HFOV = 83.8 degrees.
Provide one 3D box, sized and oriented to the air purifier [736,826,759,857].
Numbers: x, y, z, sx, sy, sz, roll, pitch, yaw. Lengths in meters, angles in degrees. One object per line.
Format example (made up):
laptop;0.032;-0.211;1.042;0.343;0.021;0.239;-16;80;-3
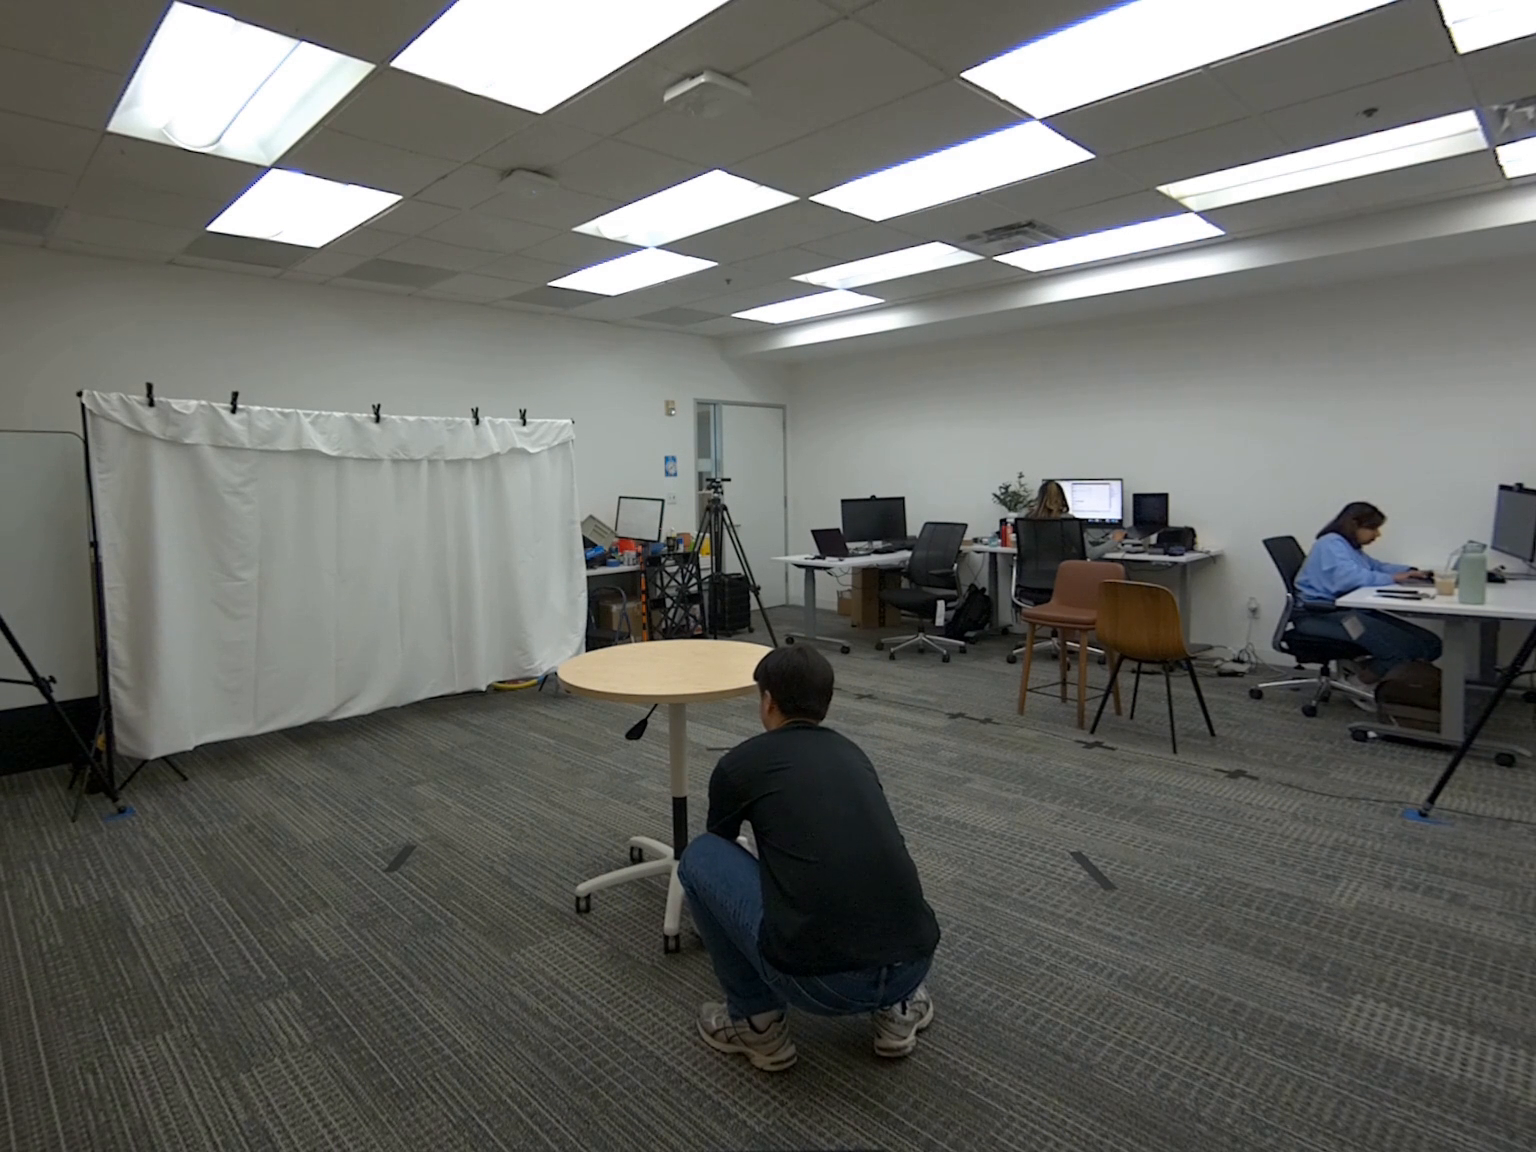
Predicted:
air purifier;-0.132;0.967;2.628;0.167;0.265;0.176;-3;1;-33
